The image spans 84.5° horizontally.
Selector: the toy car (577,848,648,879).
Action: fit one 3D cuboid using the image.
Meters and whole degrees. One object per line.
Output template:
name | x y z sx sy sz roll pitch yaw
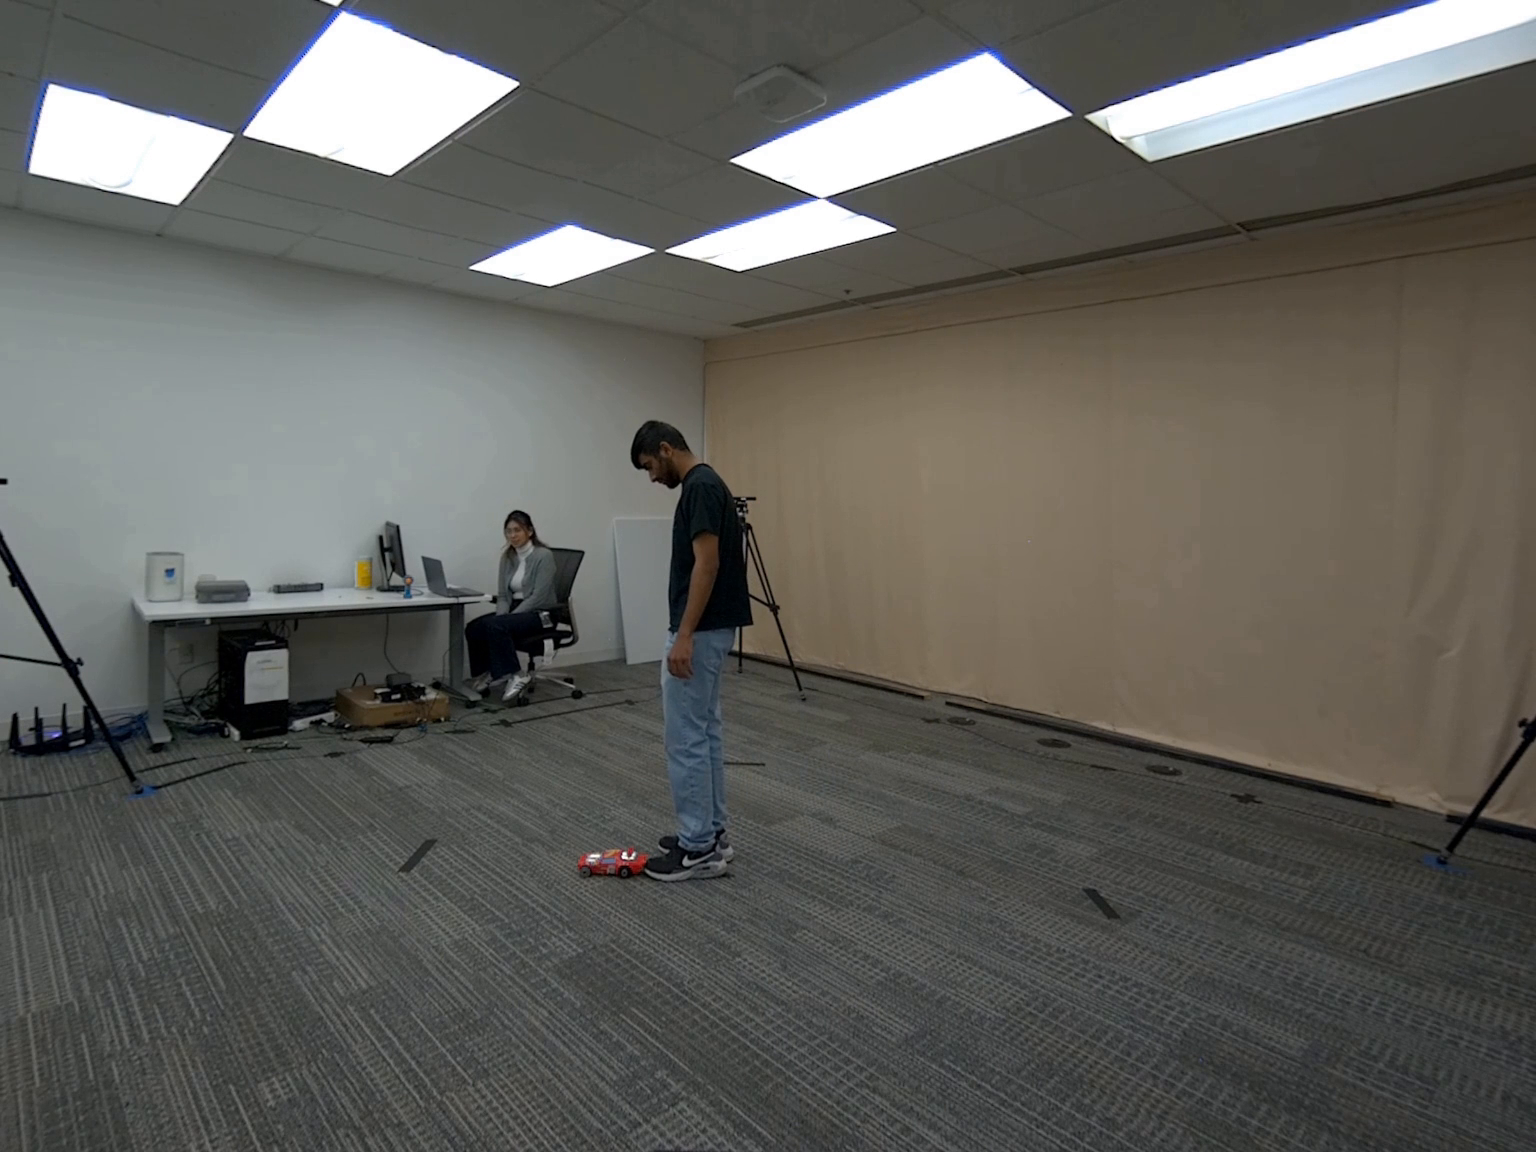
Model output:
toy car | -0.573 1.059 3.111 0.255 0.083 0.130 -10 4 4
